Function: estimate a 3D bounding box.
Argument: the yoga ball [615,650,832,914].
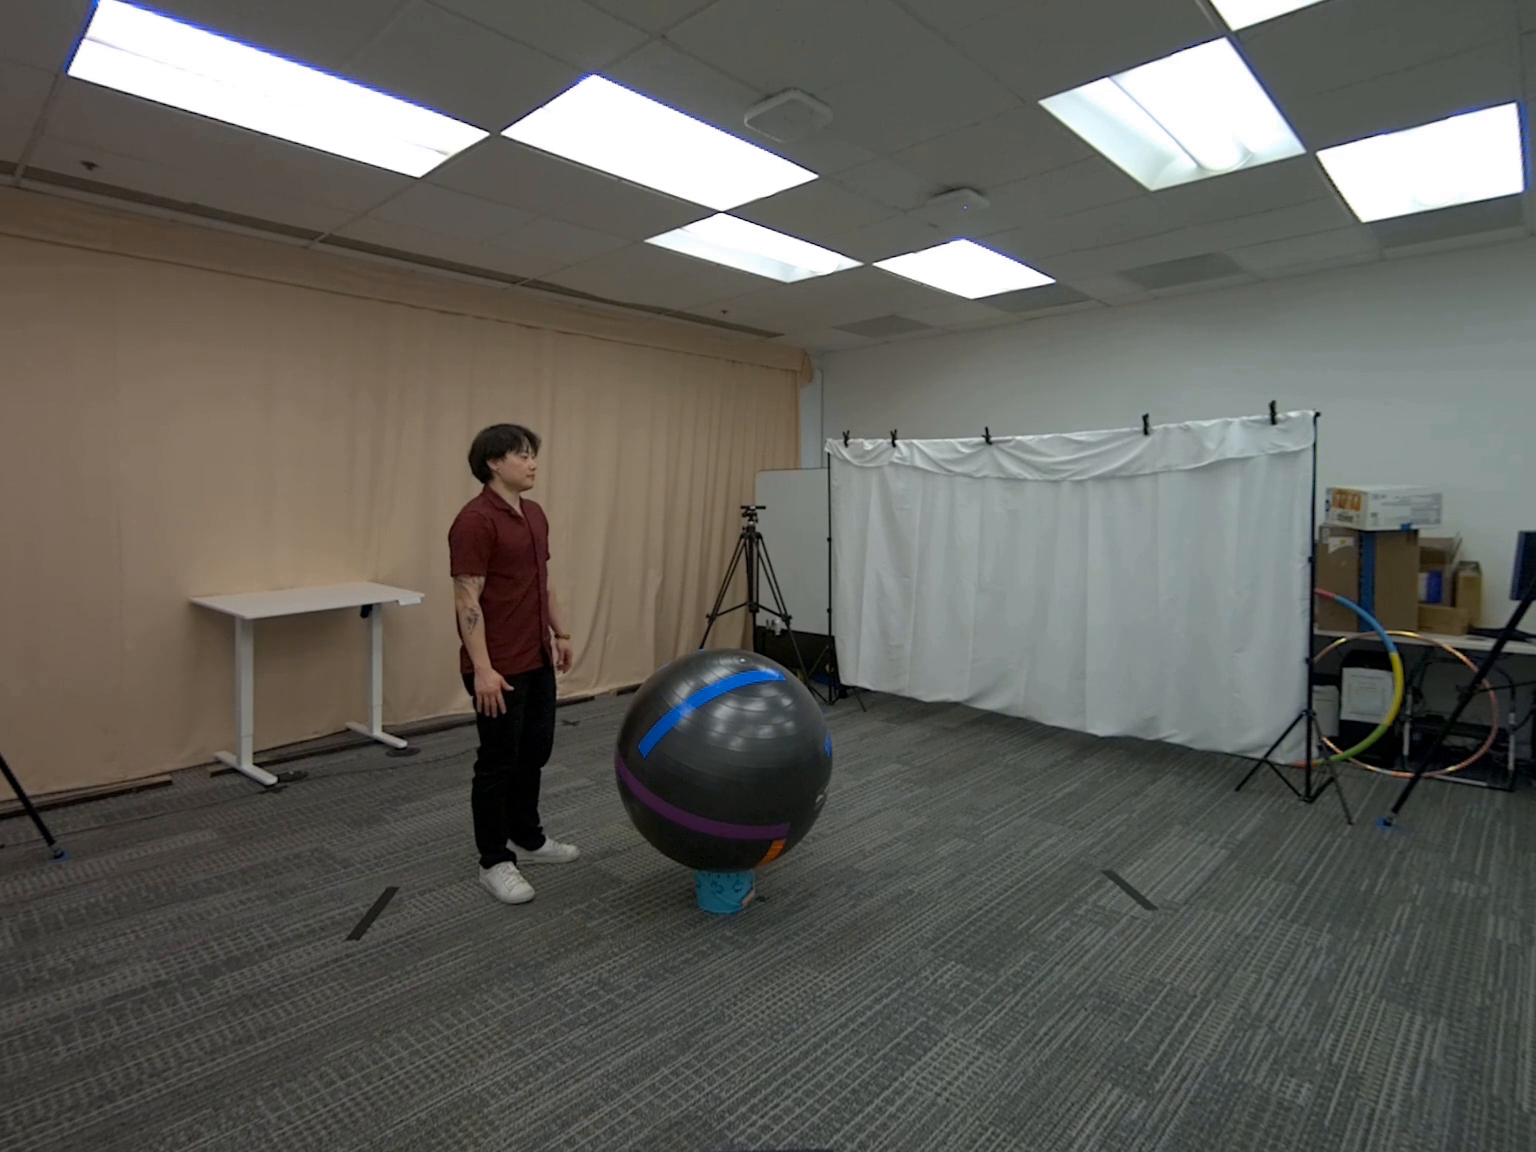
[{"bbox_3d":[-0.146,0.639,2.940,0.757,0.756,0.760,0,4,-2],"label":"yoga ball"}]
